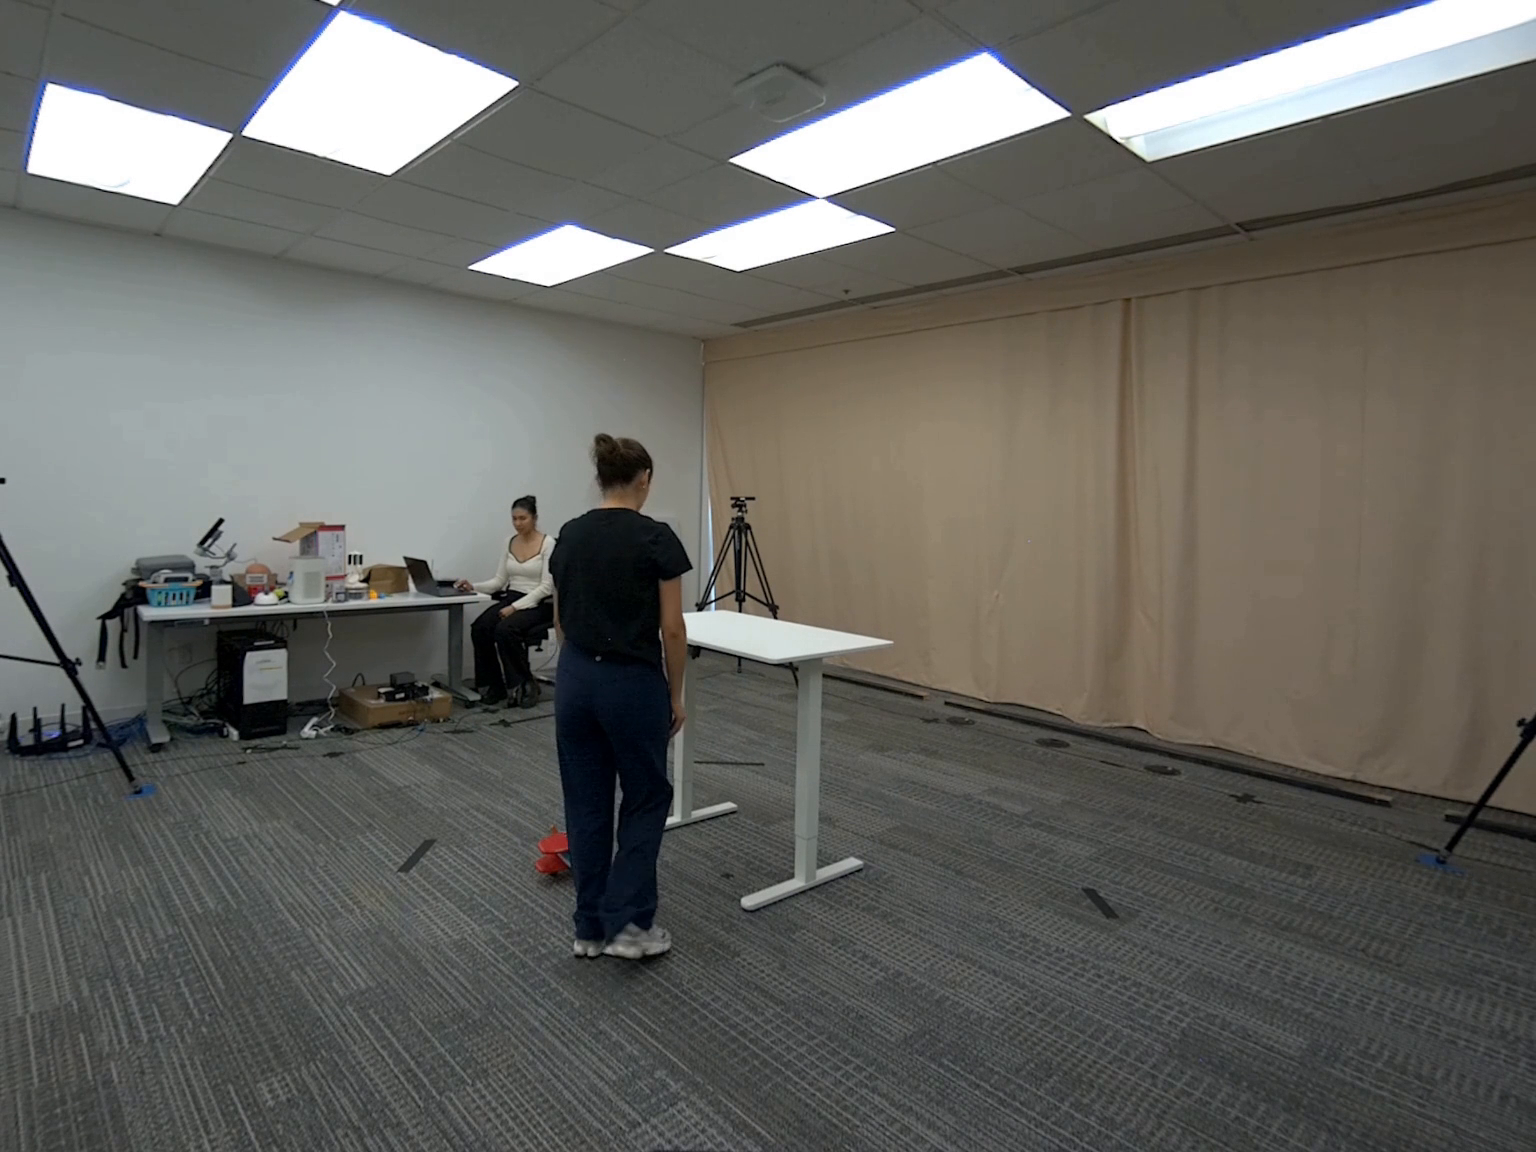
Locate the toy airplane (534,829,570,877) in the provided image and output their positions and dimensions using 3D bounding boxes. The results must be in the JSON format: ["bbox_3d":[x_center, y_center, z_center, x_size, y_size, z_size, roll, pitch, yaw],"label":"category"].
[{"bbox_3d":[-0.690,1.026,3.039,0.263,0.156,0.247,2,3,20],"label":"toy airplane"}]
